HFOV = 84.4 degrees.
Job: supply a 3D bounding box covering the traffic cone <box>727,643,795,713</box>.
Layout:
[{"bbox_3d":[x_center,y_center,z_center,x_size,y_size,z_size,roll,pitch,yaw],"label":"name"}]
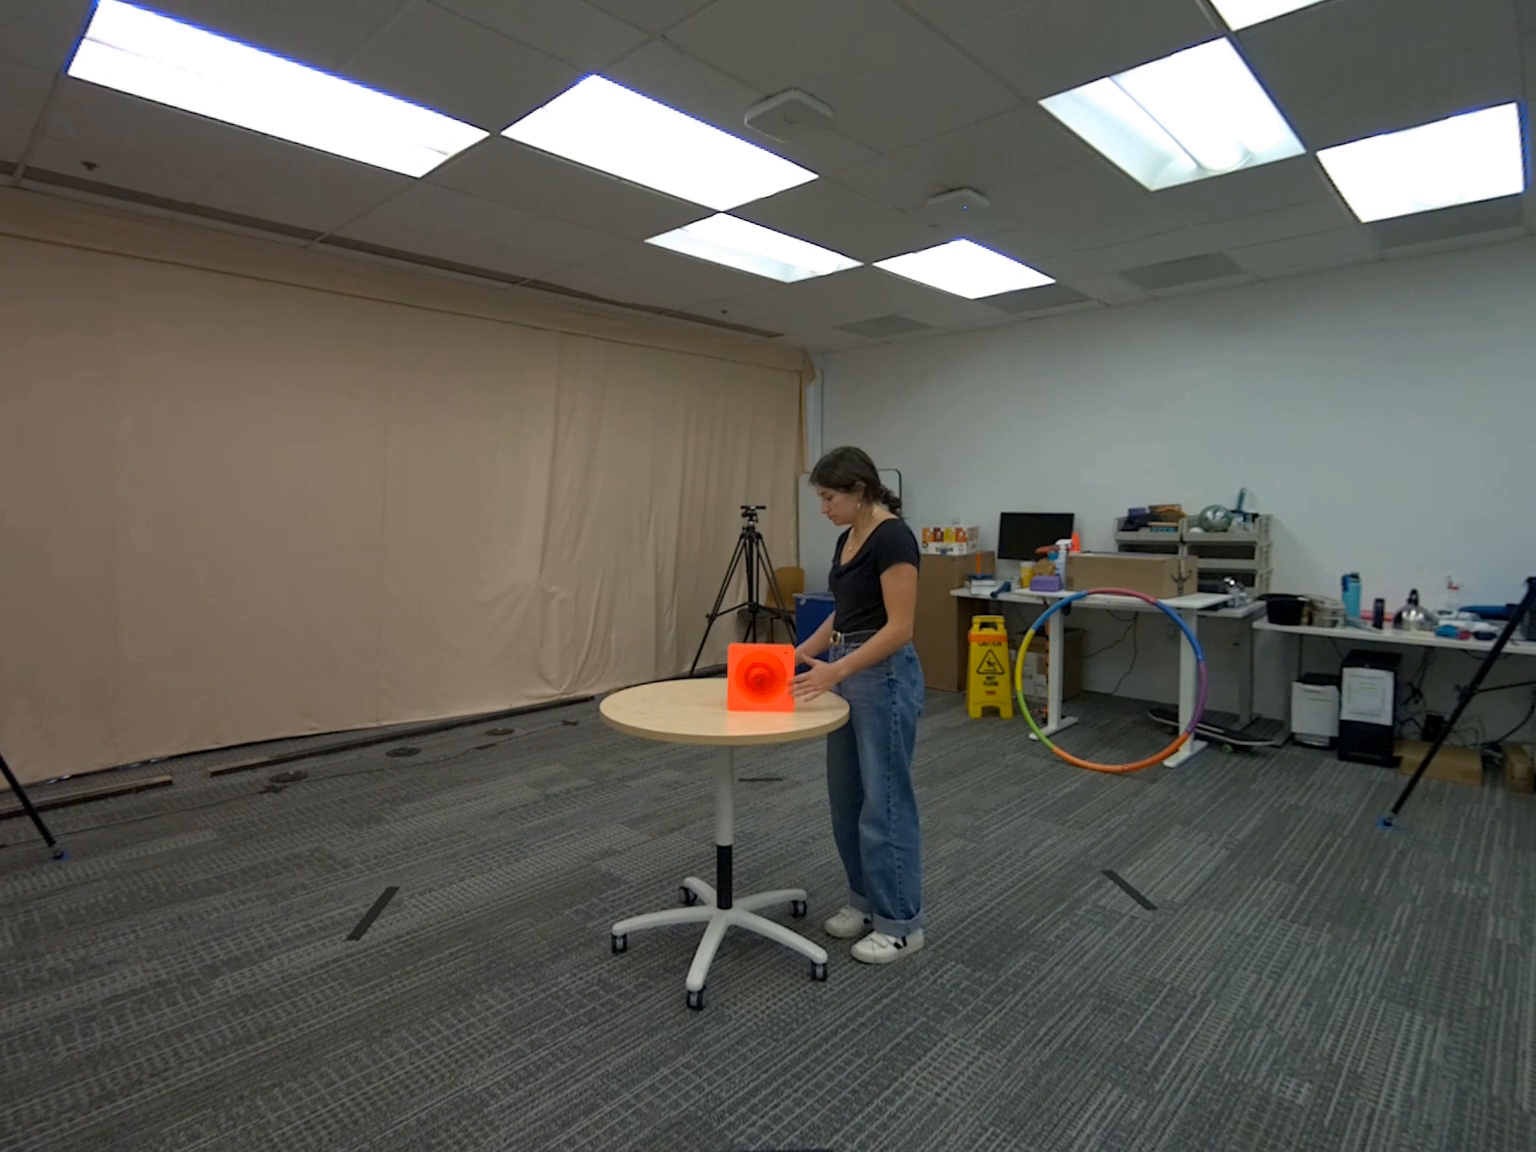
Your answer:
[{"bbox_3d":[-0.025,0.335,2.696,0.204,0.205,0.383,-3,-9,-5],"label":"traffic cone"}]
